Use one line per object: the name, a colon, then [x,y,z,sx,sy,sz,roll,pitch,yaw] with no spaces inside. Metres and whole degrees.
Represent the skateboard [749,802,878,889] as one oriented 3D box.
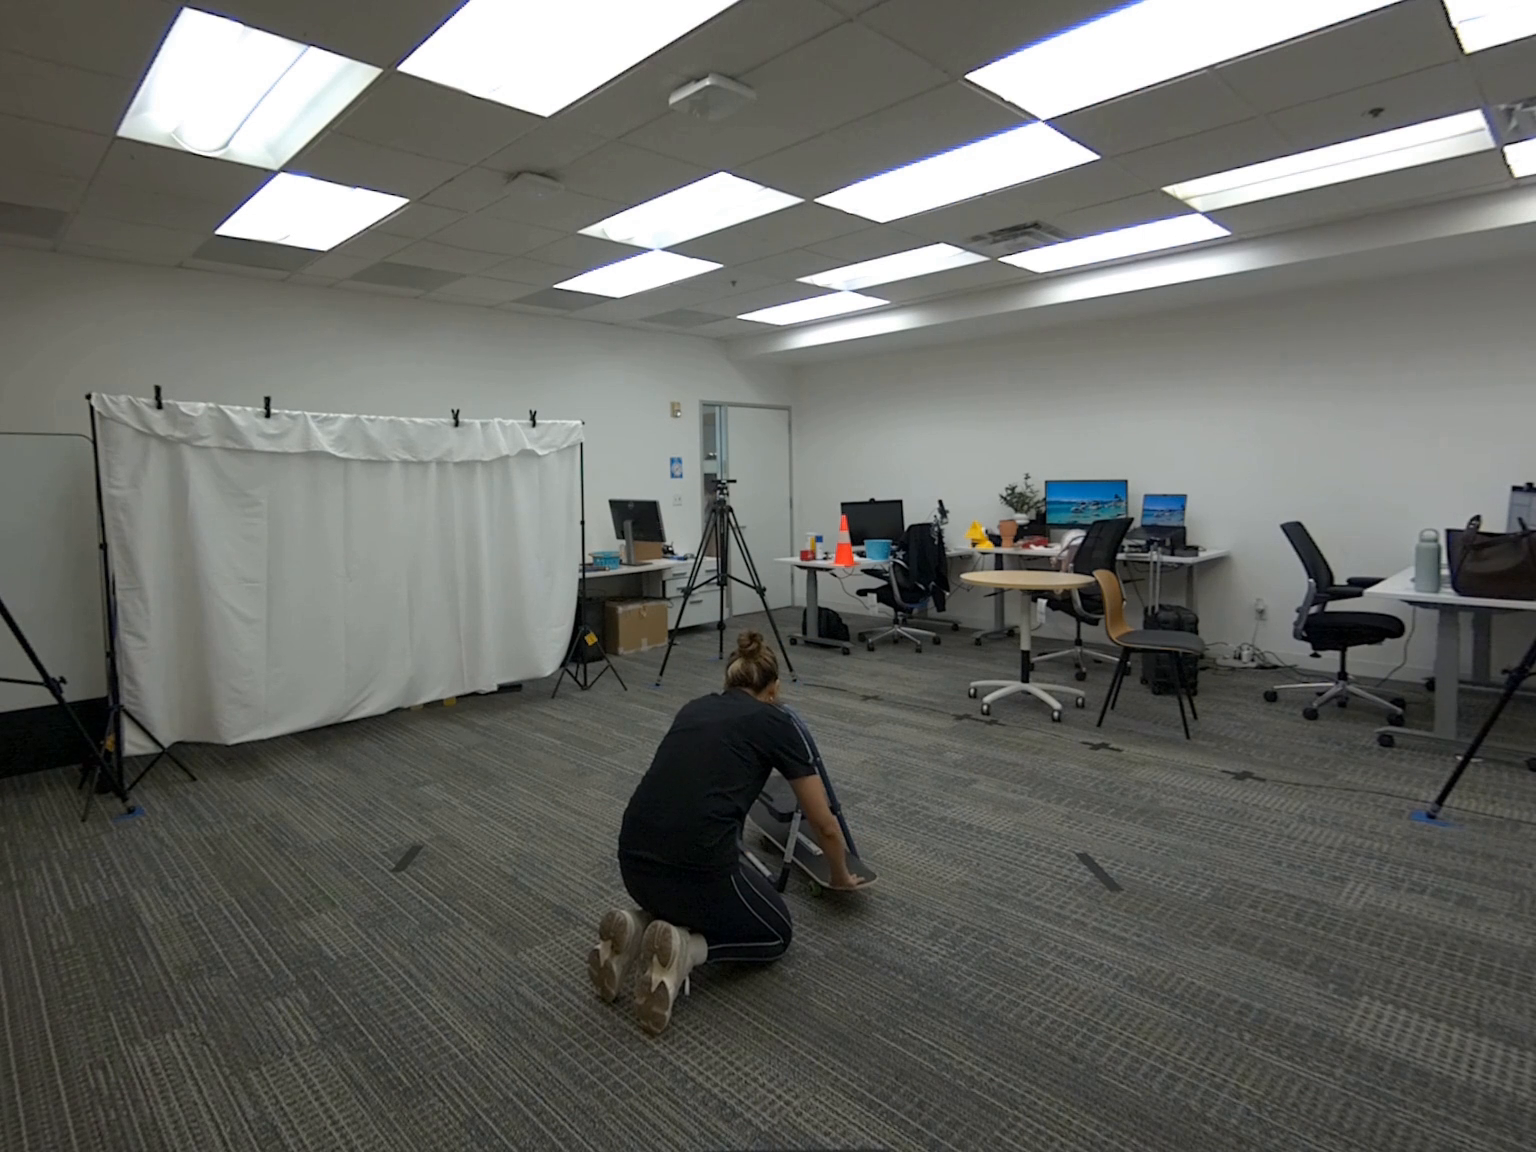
skateboard: [0.134,0.977,3.084,0.190,0.110,0.805,-5,8,-24]
